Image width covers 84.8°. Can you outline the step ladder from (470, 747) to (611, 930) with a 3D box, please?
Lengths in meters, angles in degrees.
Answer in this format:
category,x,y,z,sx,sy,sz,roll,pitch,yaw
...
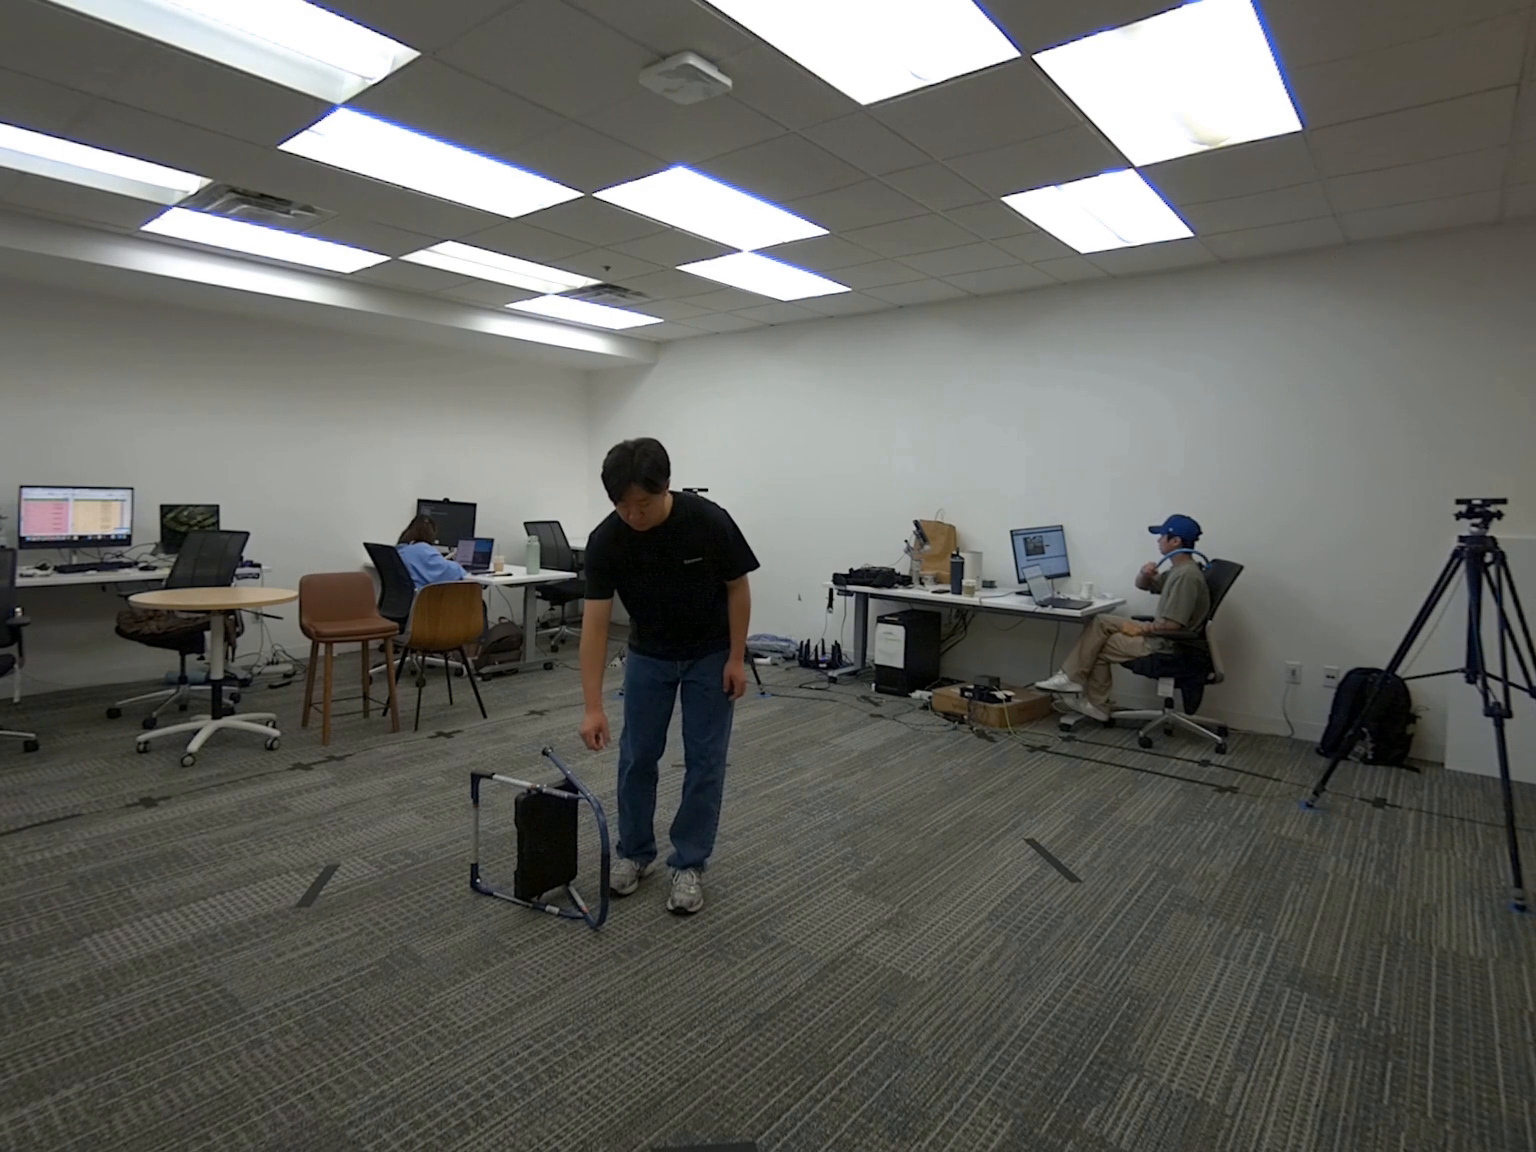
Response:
category,x,y,z,sx,sy,sz,roll,pitch,yaw
step ladder,-0.688,0.877,2.834,0.627,0.429,0.339,5,7,40
